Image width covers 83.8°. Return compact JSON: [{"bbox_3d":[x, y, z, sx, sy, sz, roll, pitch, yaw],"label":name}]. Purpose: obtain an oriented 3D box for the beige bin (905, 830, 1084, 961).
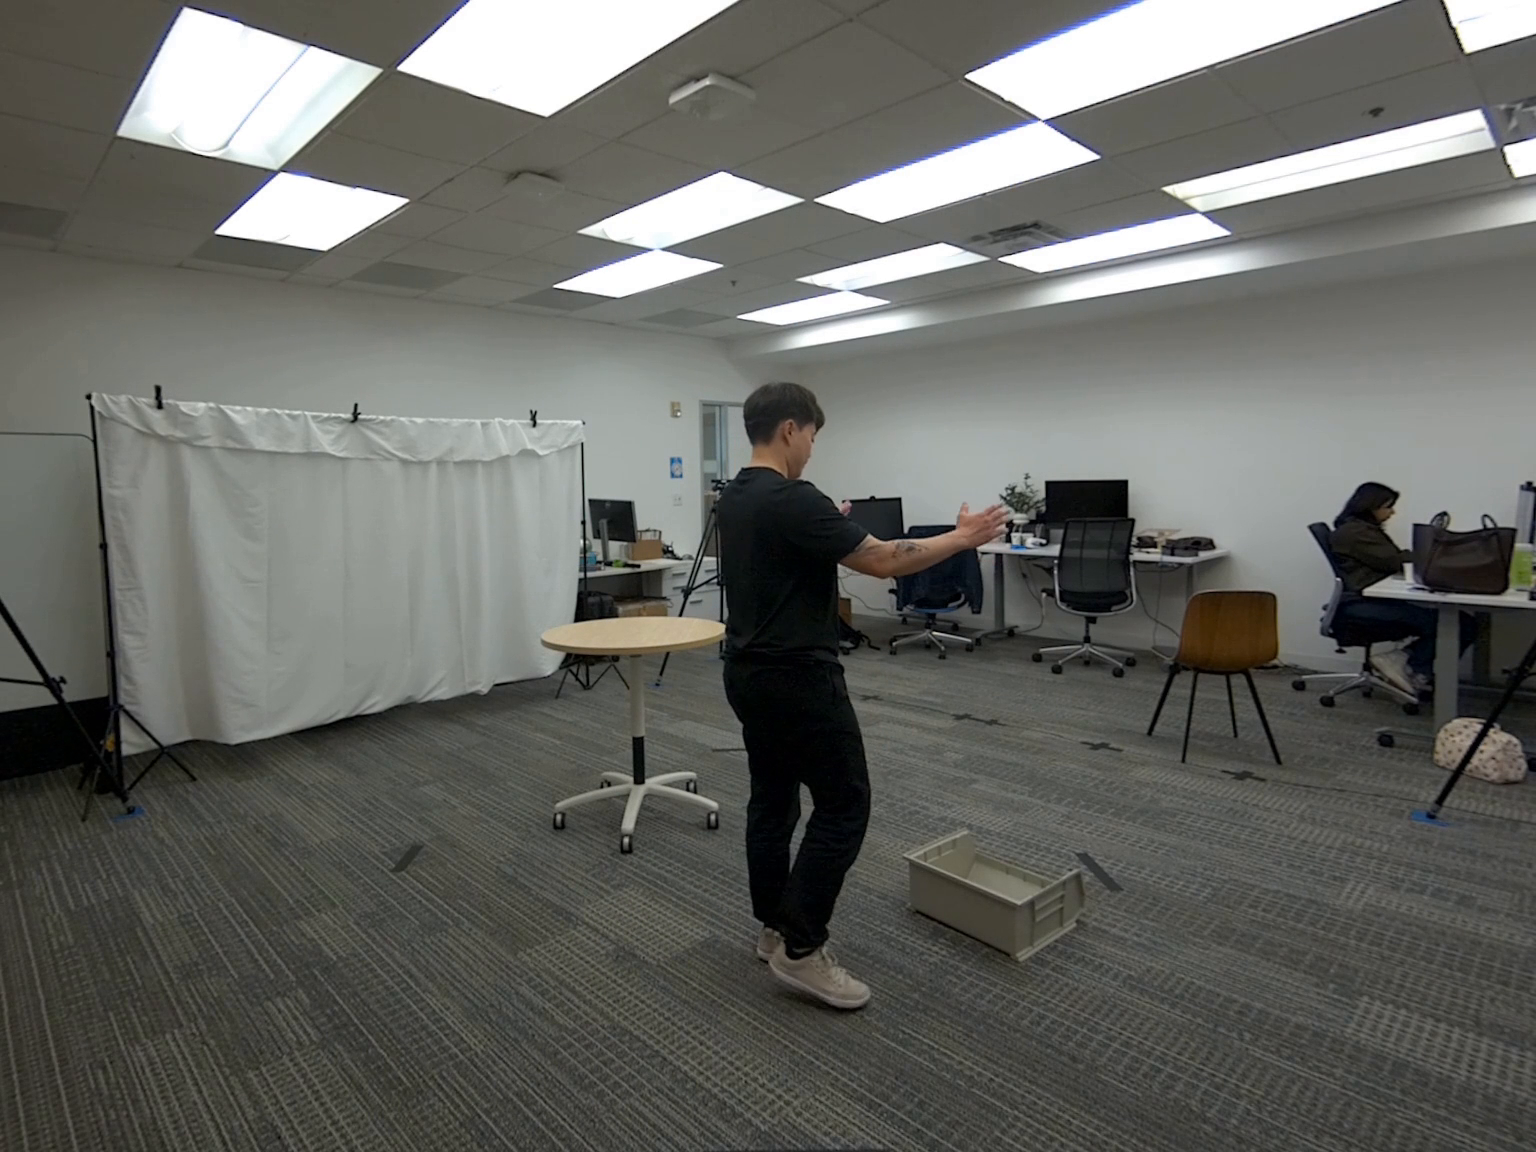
[{"bbox_3d":[0.719,0.991,2.707,0.368,0.188,0.435,-7,8,-40],"label":"beige bin"}]
